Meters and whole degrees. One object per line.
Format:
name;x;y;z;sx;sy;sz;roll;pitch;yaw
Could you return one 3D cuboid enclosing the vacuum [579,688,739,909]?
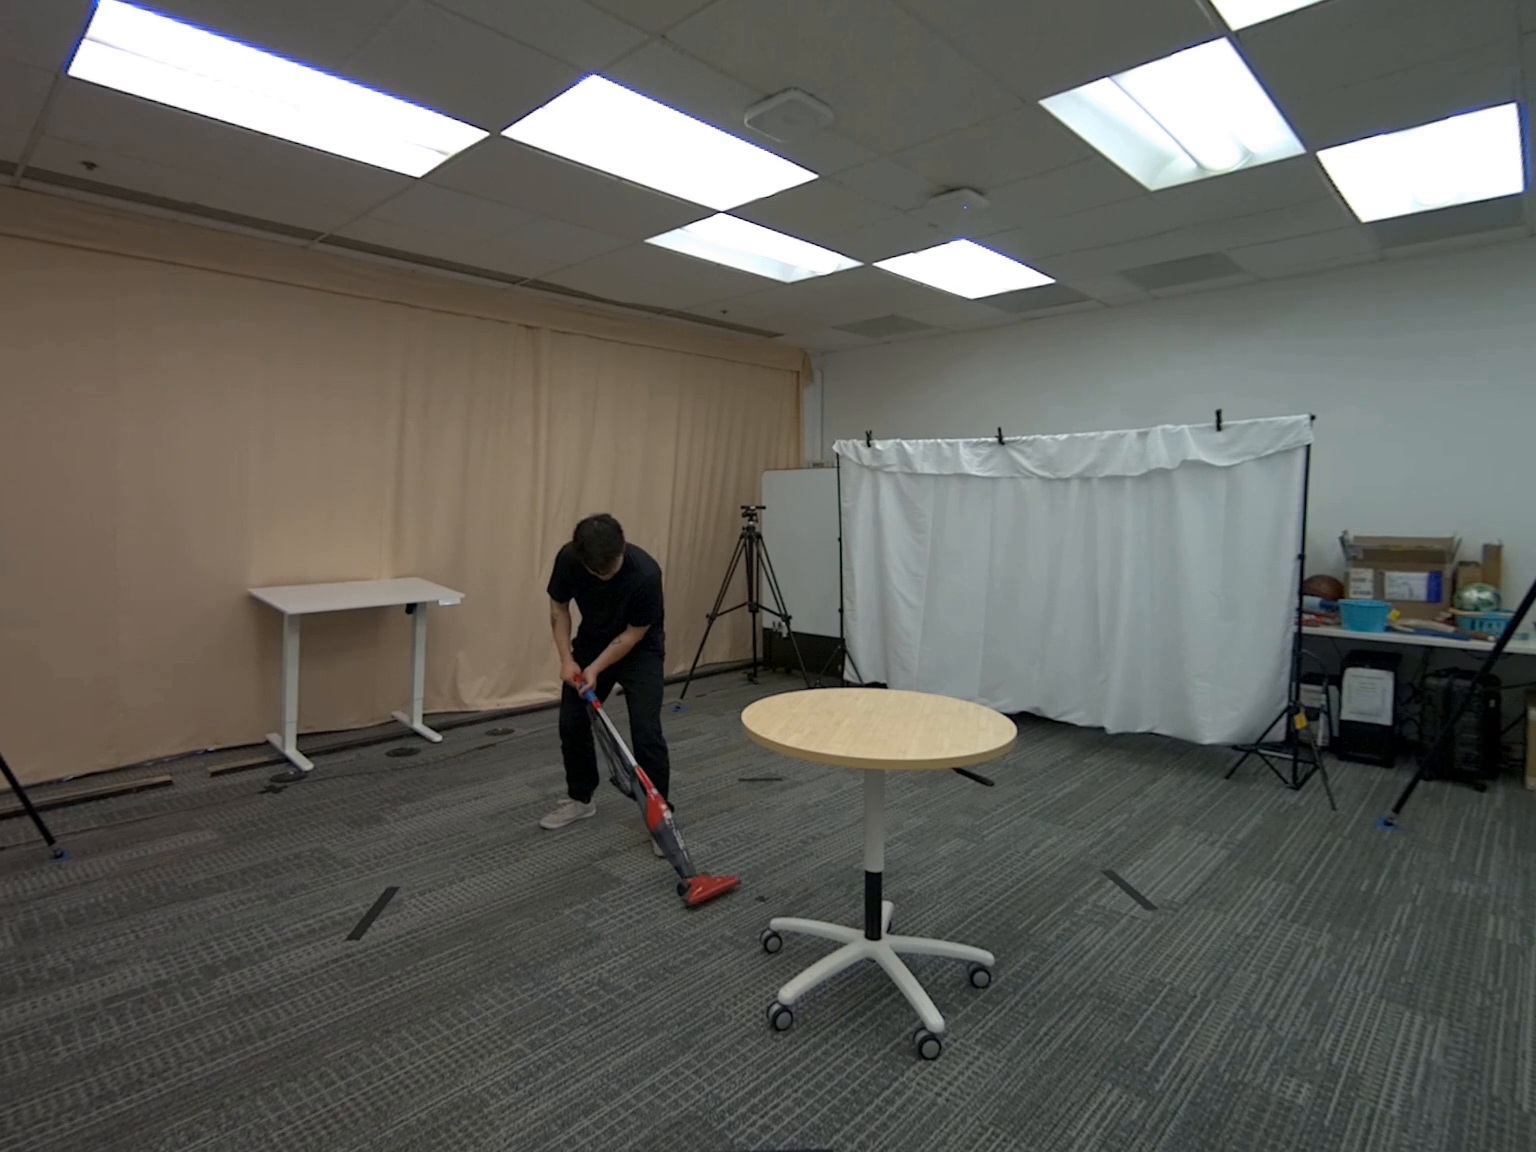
vacuum;-0.508;0.787;3.263;0.245;0.144;1.083;-2;41;-45
